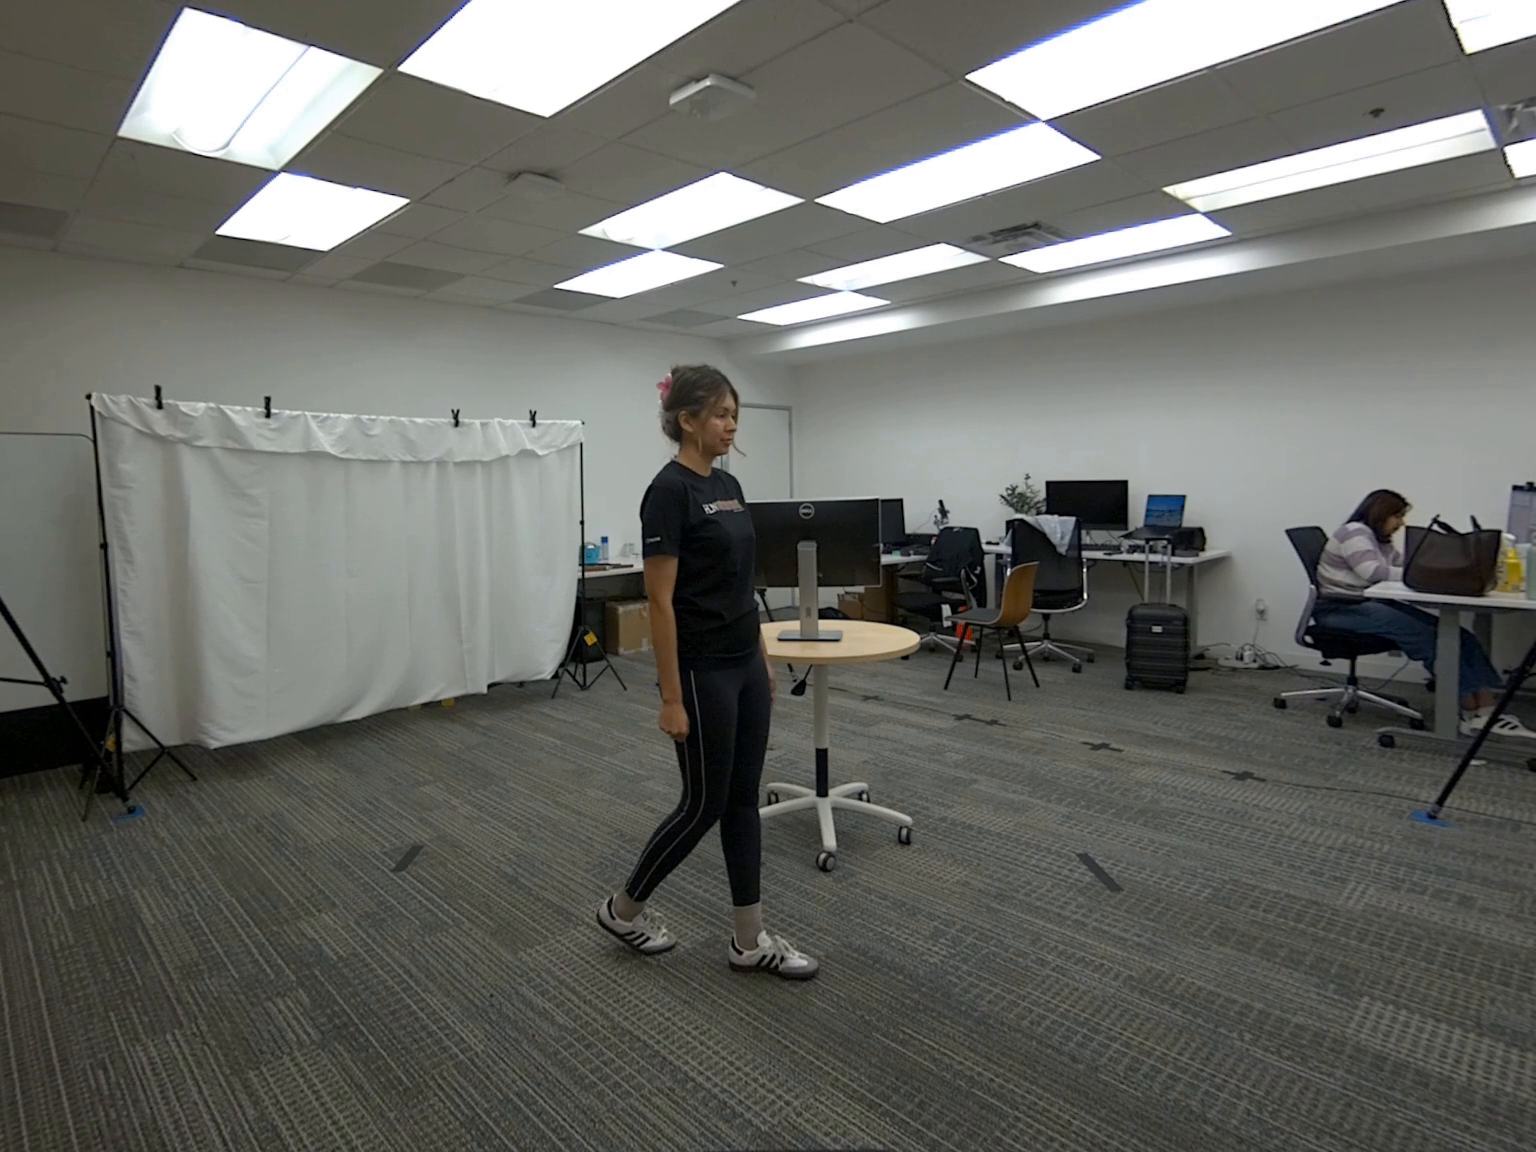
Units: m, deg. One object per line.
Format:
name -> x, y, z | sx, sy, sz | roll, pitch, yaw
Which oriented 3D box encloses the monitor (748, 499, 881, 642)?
monitor -> 0.157, -0.024, 3.329 | 0.543, 0.520, 0.186 | -1, 4, 7
